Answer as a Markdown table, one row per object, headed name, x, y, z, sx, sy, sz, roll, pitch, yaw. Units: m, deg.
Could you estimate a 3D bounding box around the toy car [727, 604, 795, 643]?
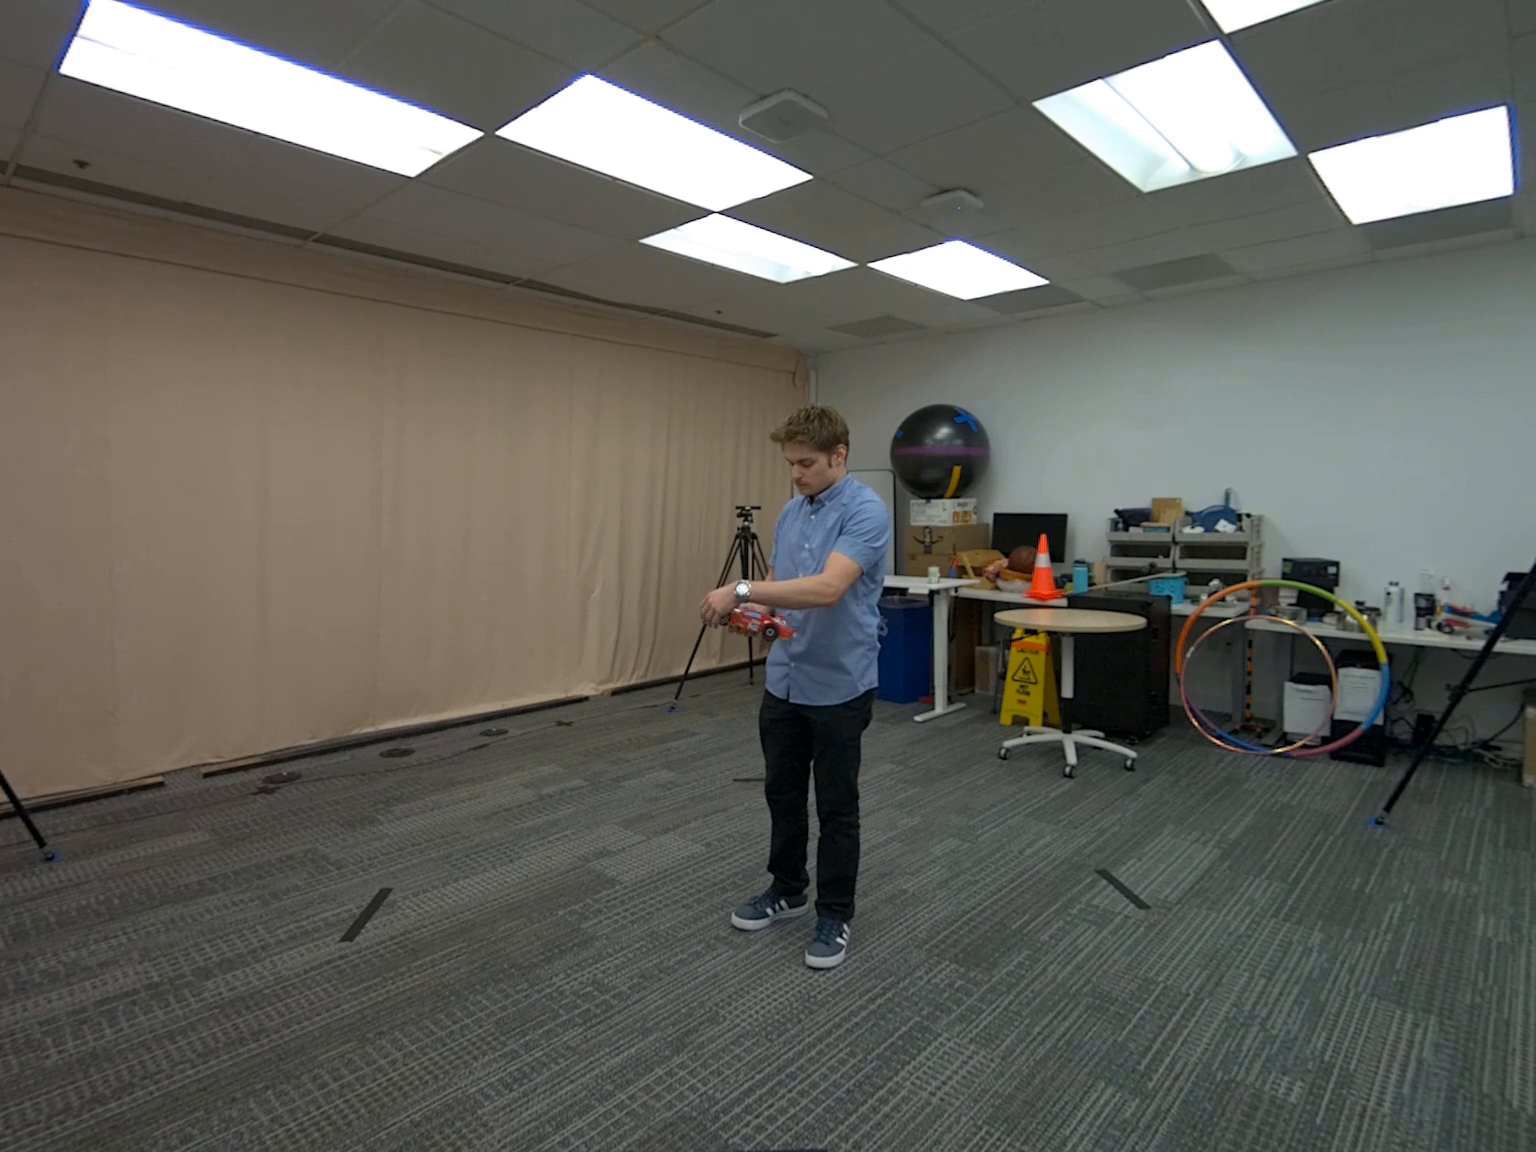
| name | x | y | z | sx | sy | sz | roll | pitch | yaw |
| --- | --- | --- | --- | --- | --- | --- | --- | --- | --- |
| toy car | -0.034 | 0.147 | 2.480 | 0.256 | 0.083 | 0.129 | 6 | -9 | 5 |
